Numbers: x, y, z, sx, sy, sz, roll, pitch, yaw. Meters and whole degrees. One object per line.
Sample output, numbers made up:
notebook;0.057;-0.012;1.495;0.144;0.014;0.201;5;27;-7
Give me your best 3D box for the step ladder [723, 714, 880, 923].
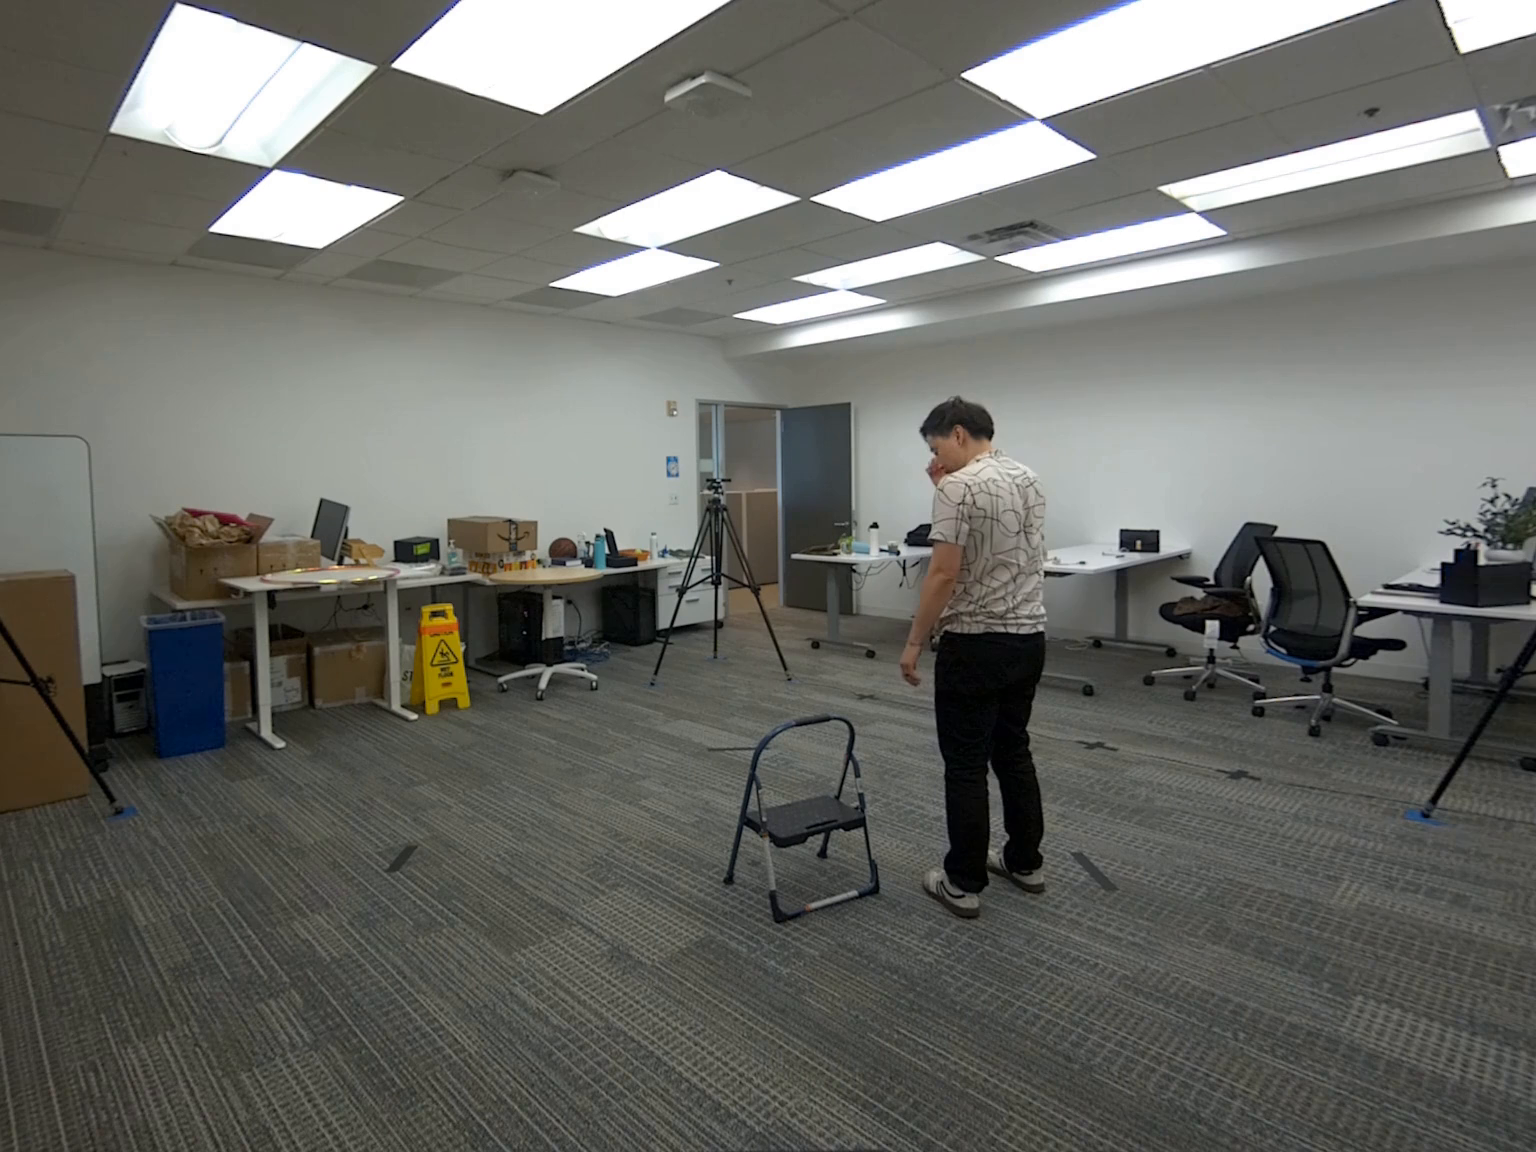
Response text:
step ladder;0.111;0.758;2.900;0.420;0.604;0.359;-3;5;-31
